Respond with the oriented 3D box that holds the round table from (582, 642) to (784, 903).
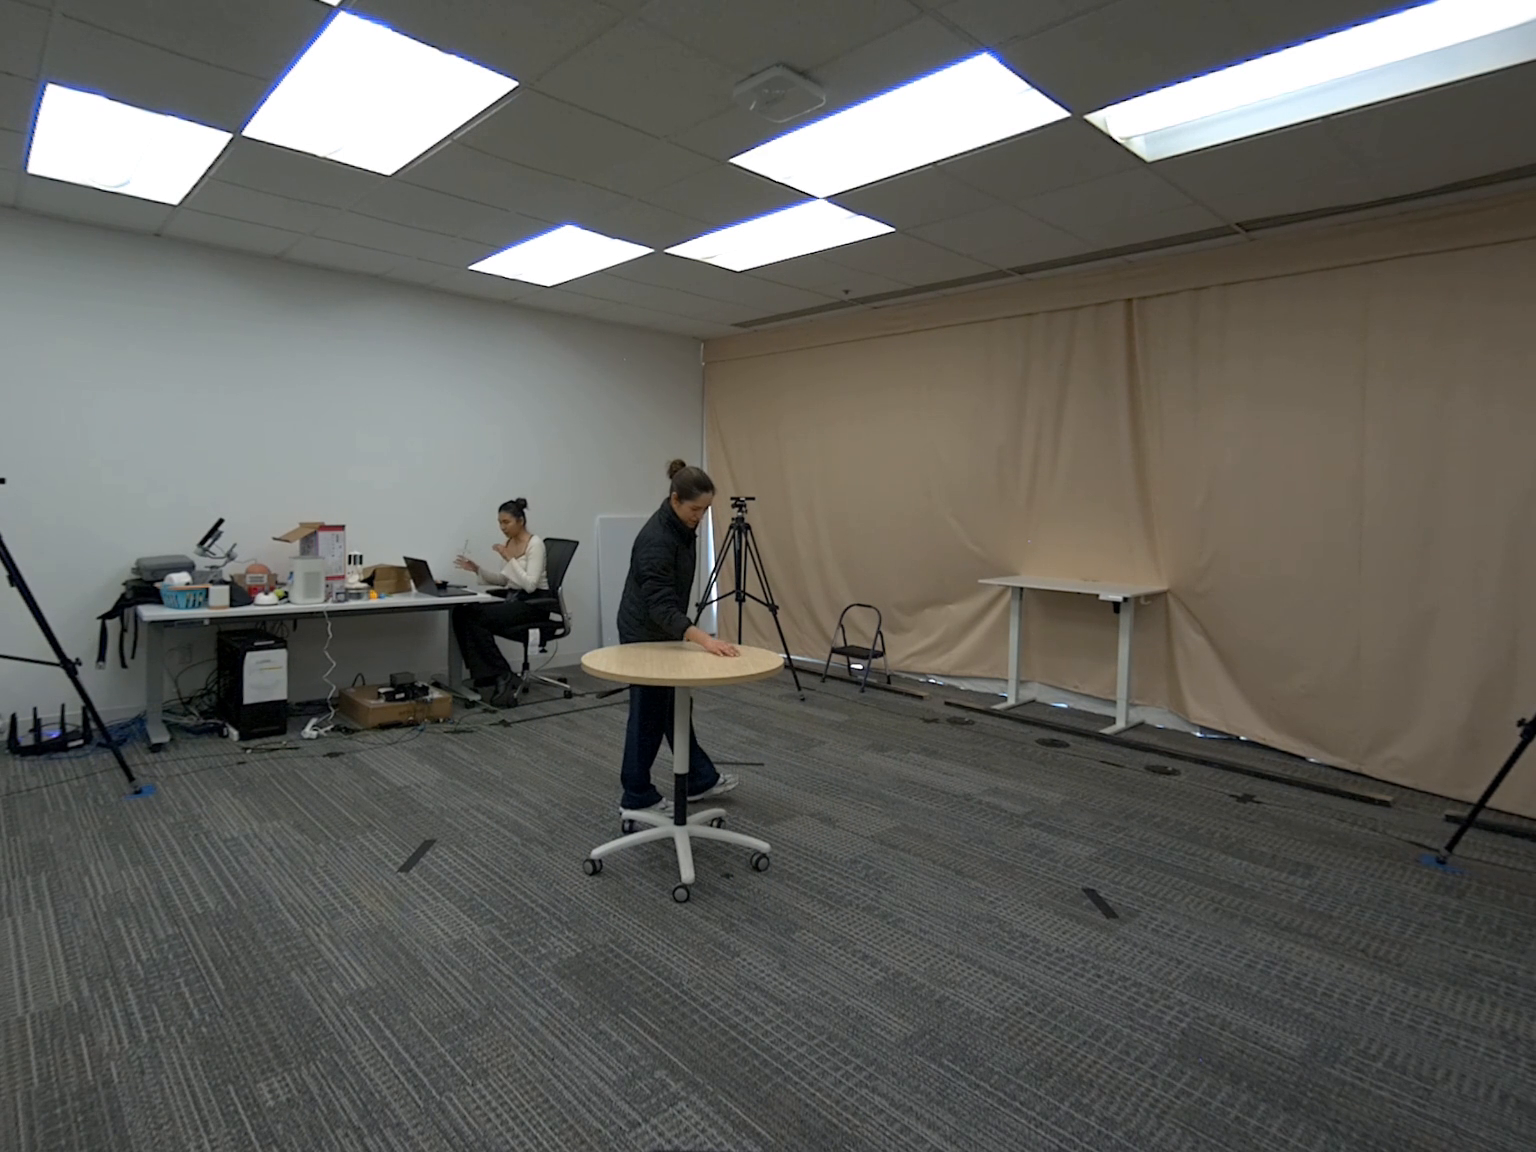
[{"bbox_3d":[-0.325,0.700,3.208,0.784,0.784,0.787,1,4,-1],"label":"round table"}]
